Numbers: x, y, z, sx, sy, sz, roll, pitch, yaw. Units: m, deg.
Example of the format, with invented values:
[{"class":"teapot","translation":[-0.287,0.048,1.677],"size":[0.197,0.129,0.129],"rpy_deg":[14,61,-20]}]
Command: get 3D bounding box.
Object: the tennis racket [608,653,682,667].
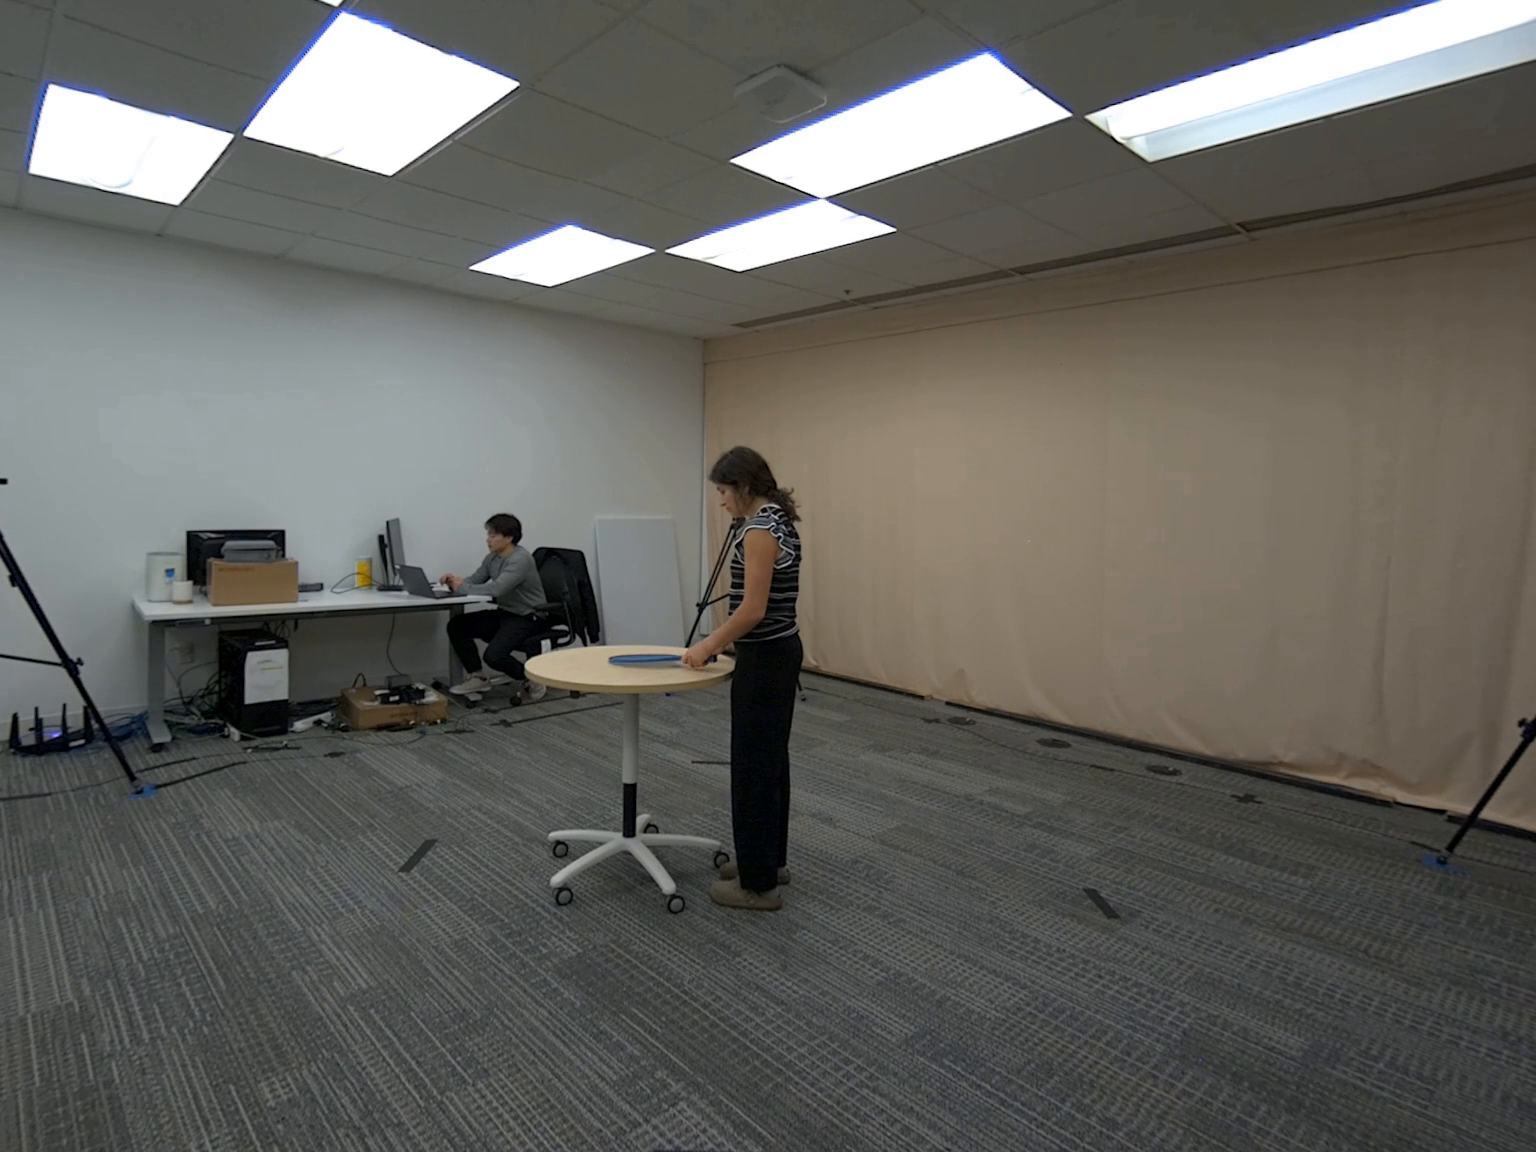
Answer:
[{"class":"tennis racket","translation":[-0.391,0.297,3.055],"size":[0.440,0.032,0.211],"rpy_deg":[-1,3,21]}]
